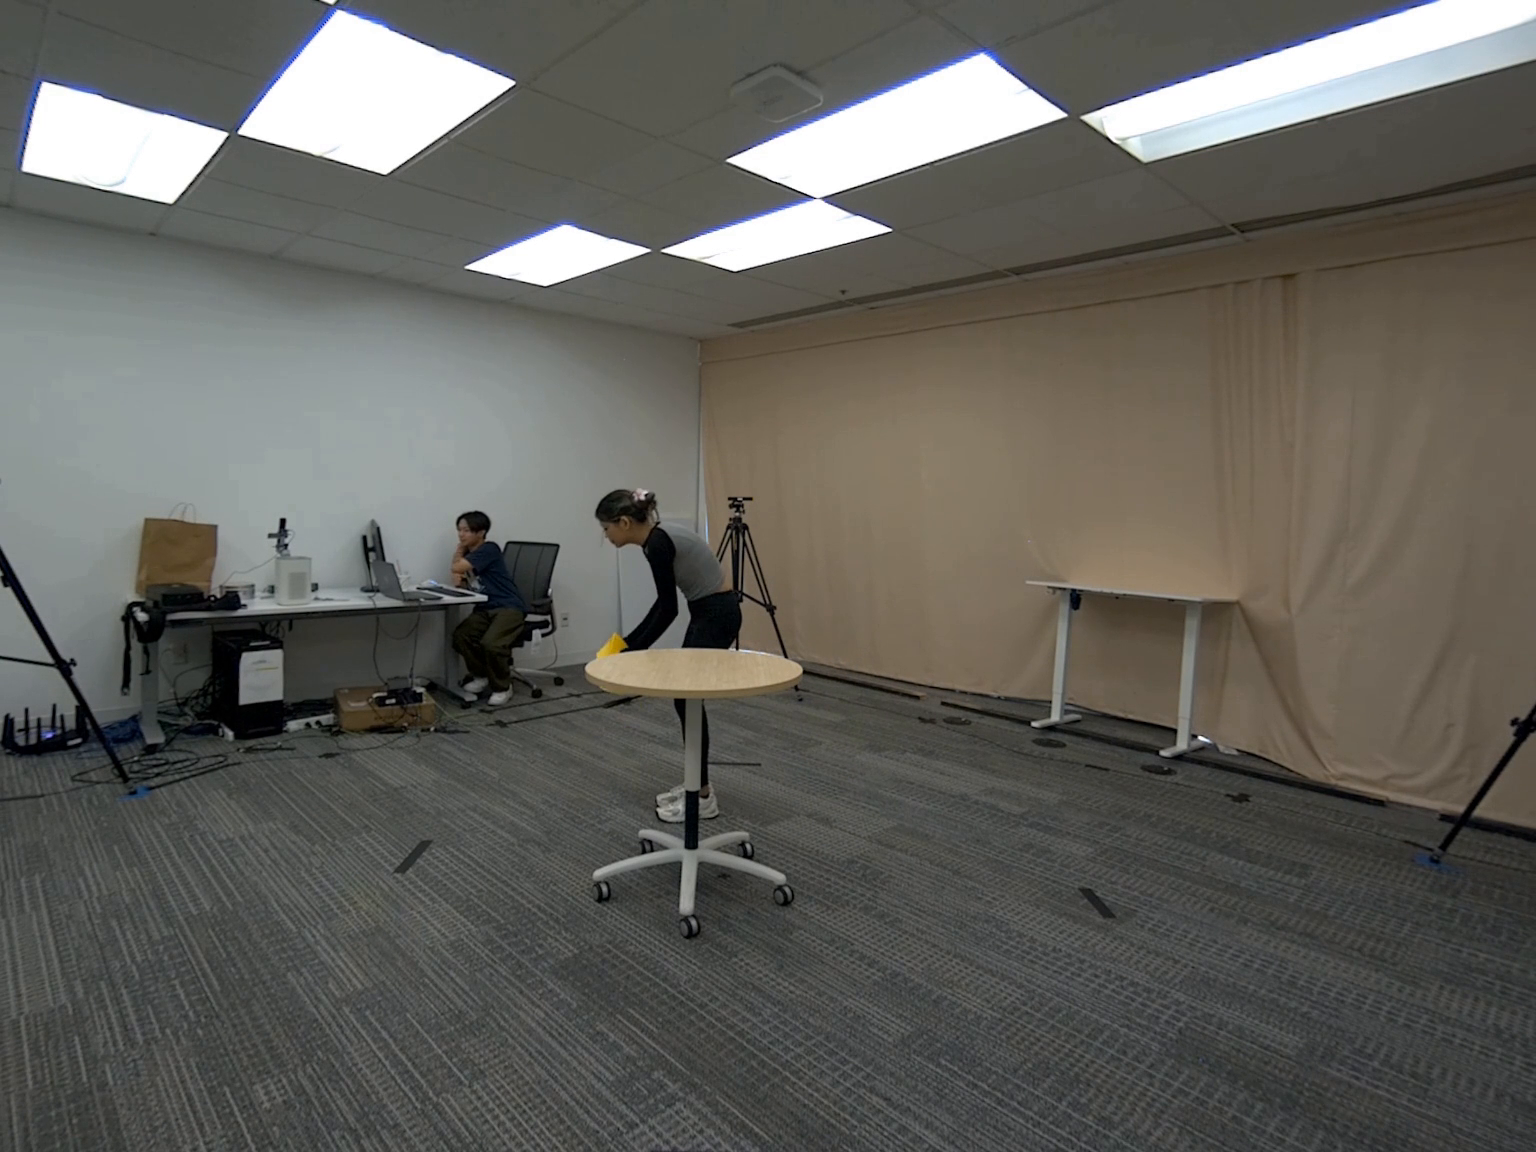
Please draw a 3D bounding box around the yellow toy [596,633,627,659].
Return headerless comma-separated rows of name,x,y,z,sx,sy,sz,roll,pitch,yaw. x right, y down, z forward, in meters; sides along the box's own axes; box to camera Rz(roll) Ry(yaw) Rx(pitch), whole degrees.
yellow toy,-0.654,0.375,3.686,0.190,0.230,0.208,17,10,-14
